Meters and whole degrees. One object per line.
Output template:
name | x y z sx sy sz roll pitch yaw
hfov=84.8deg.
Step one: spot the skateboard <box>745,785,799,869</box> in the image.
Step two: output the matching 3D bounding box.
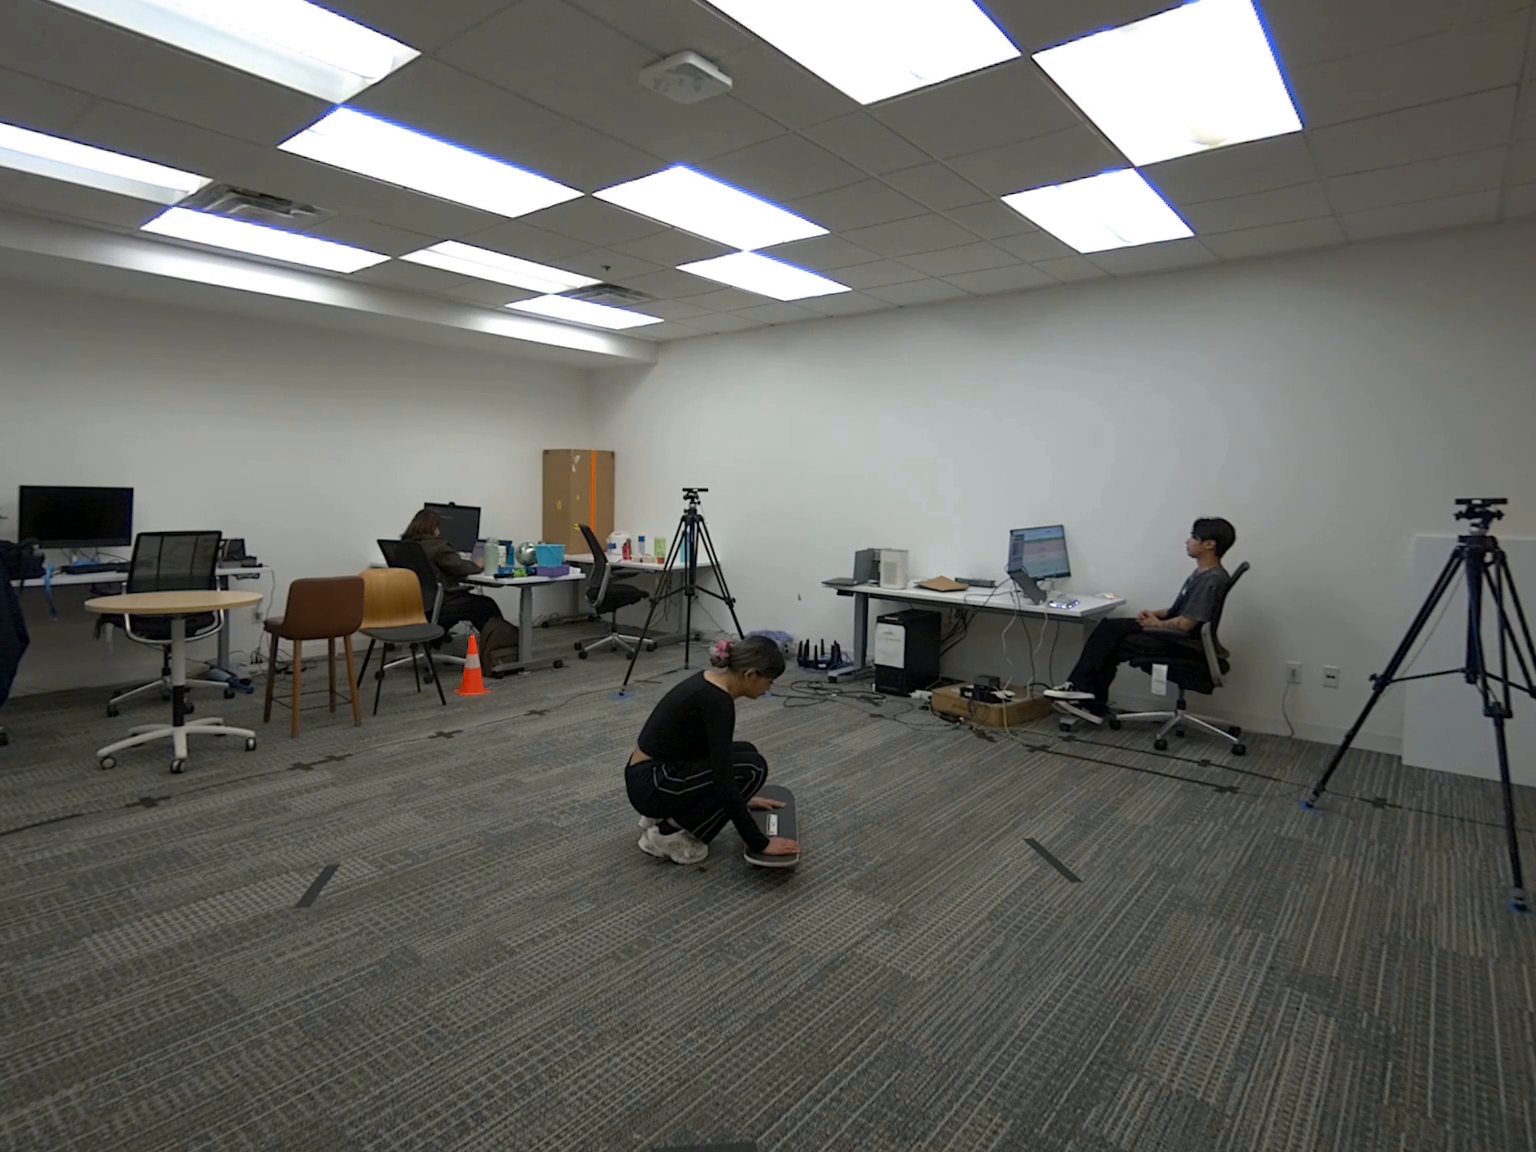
skateboard | 0.006 0.996 3.310 0.194 0.110 0.787 1 6 1
